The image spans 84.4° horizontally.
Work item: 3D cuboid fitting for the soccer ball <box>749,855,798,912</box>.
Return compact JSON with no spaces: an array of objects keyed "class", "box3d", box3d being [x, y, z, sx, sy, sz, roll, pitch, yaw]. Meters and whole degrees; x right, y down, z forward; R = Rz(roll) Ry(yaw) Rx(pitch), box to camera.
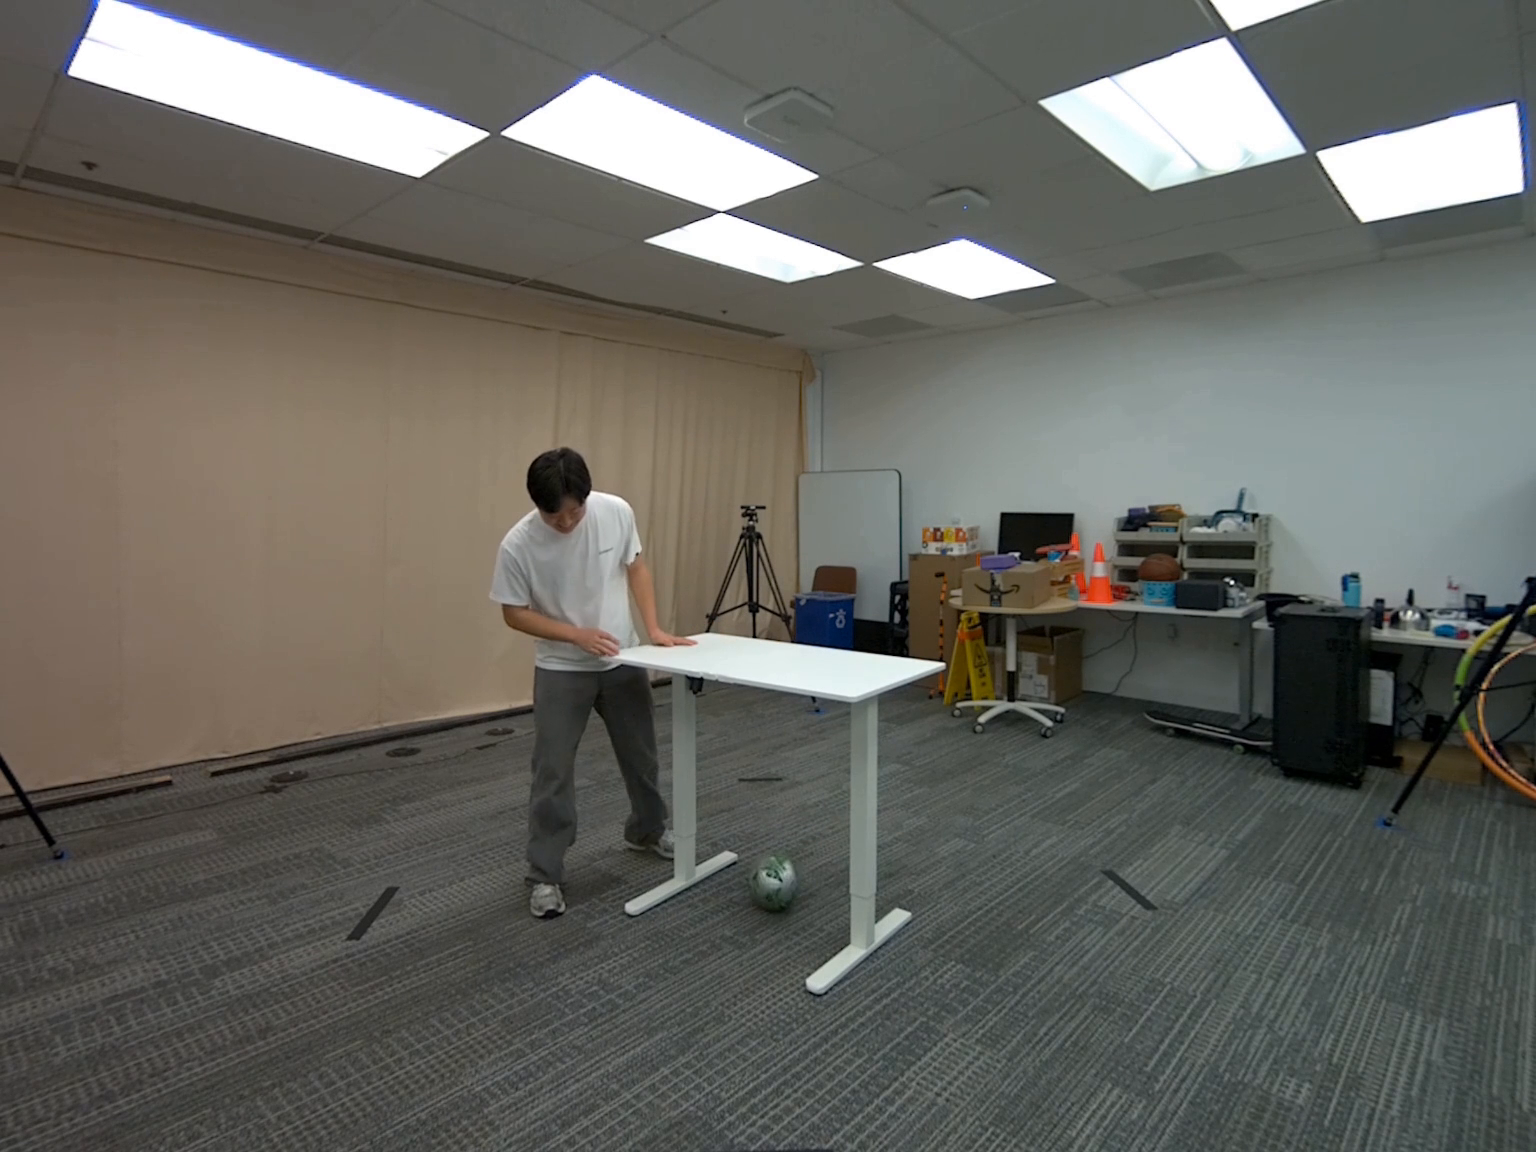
[{"class":"soccer ball","box3d":[0.032,1.061,2.914,0.187,0.187,0.188,0,4,-2]}]
